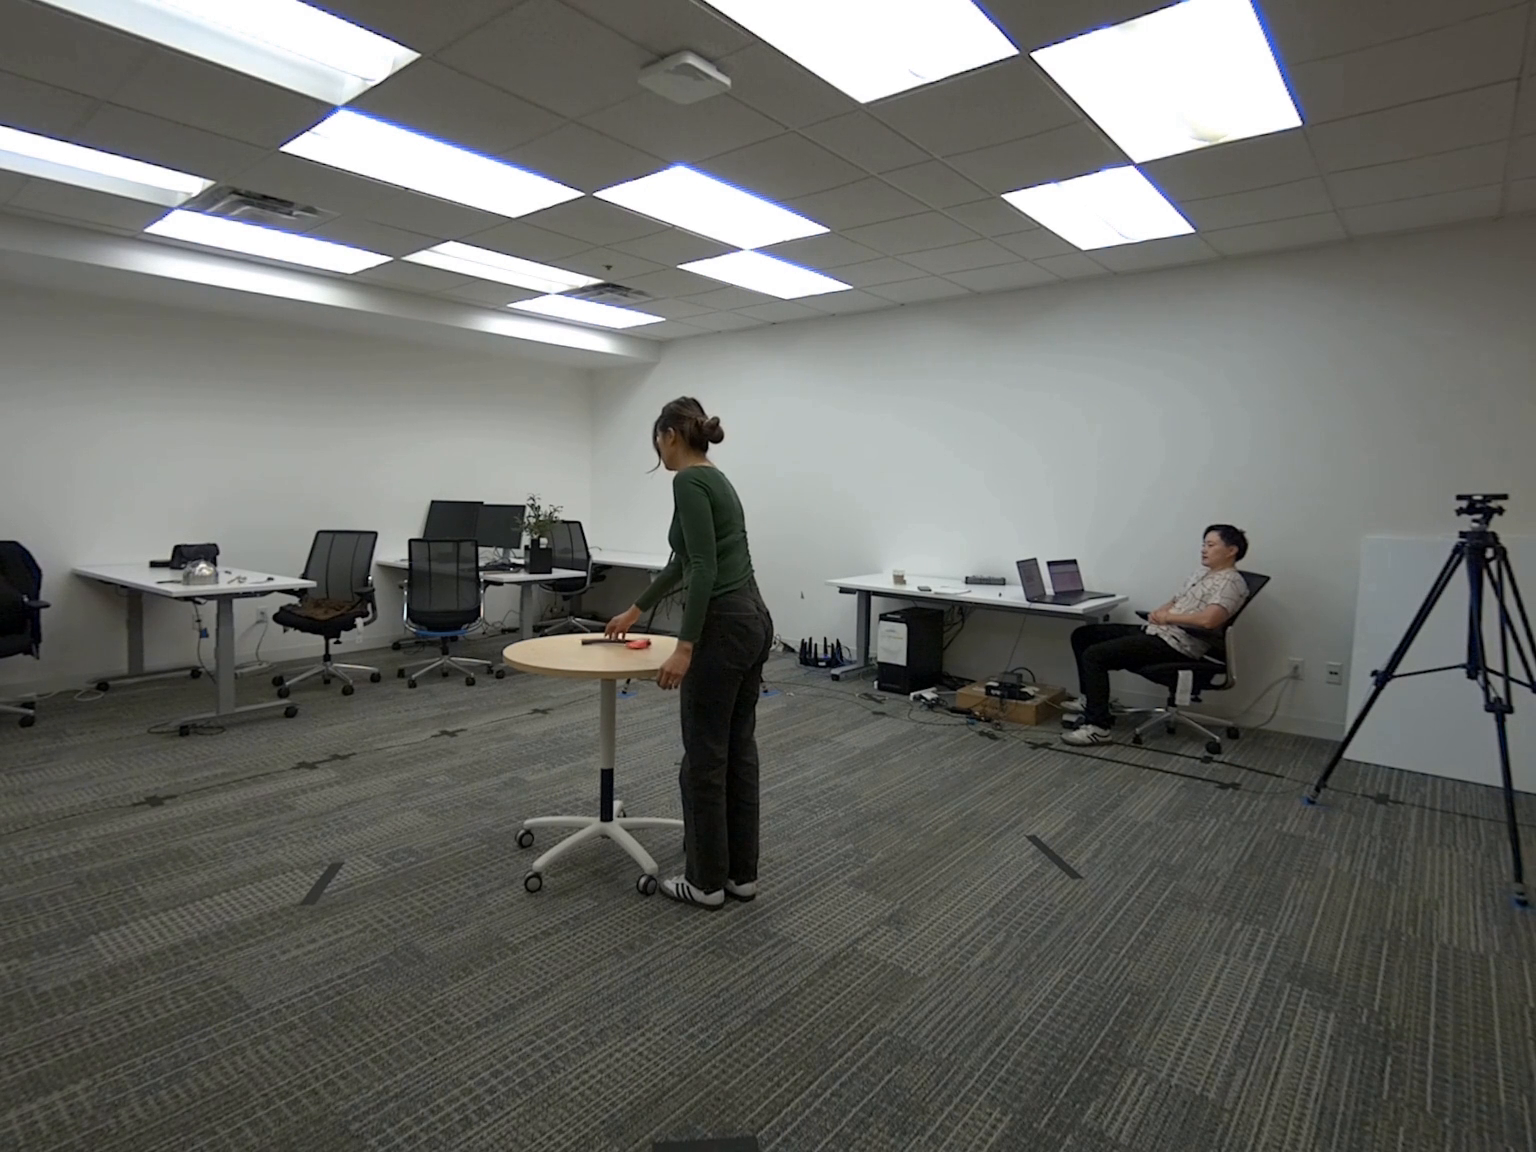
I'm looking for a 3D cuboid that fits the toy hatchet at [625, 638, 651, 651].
[{"bbox_3d":[-0.590,0.256,3.230,0.268,0.029,0.132,-1,7,-5],"label":"toy hatchet"}]
